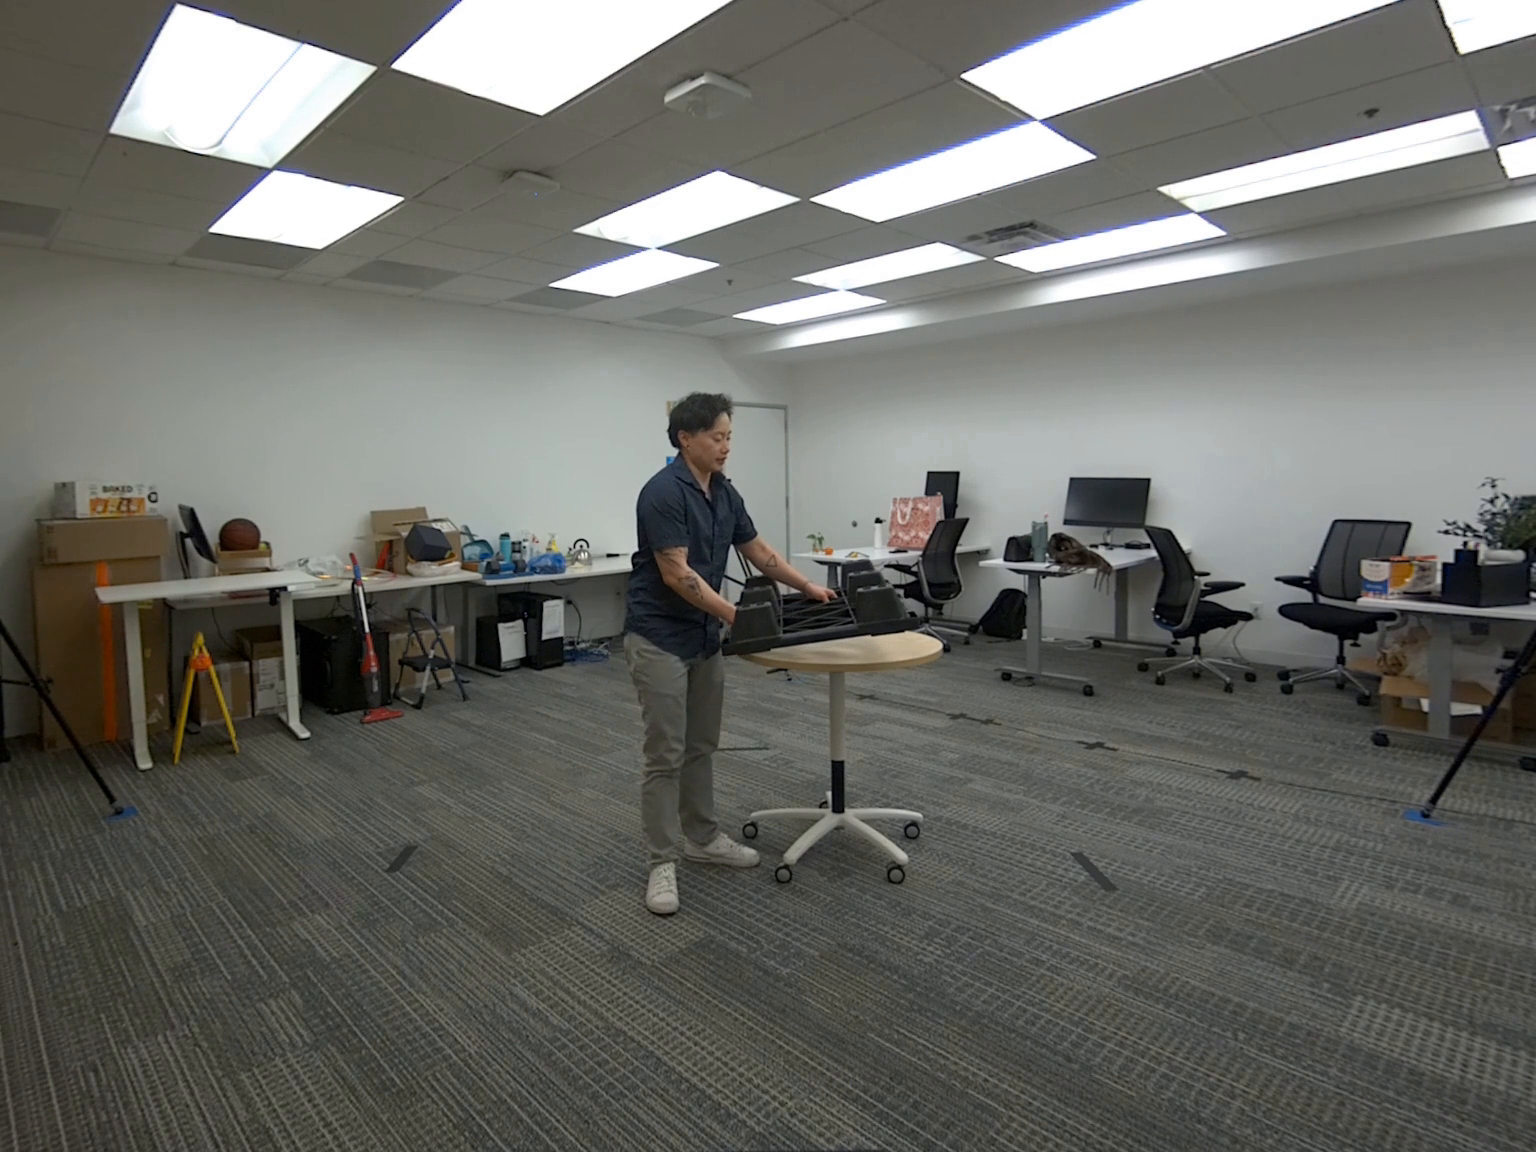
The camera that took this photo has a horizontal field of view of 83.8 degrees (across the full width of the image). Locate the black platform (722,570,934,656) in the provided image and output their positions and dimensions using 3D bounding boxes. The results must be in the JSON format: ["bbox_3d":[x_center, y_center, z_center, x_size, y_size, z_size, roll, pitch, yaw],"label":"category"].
[{"bbox_3d":[0.158,0.089,2.909,0.607,0.142,0.808,-10,8,3],"label":"black platform"}]
